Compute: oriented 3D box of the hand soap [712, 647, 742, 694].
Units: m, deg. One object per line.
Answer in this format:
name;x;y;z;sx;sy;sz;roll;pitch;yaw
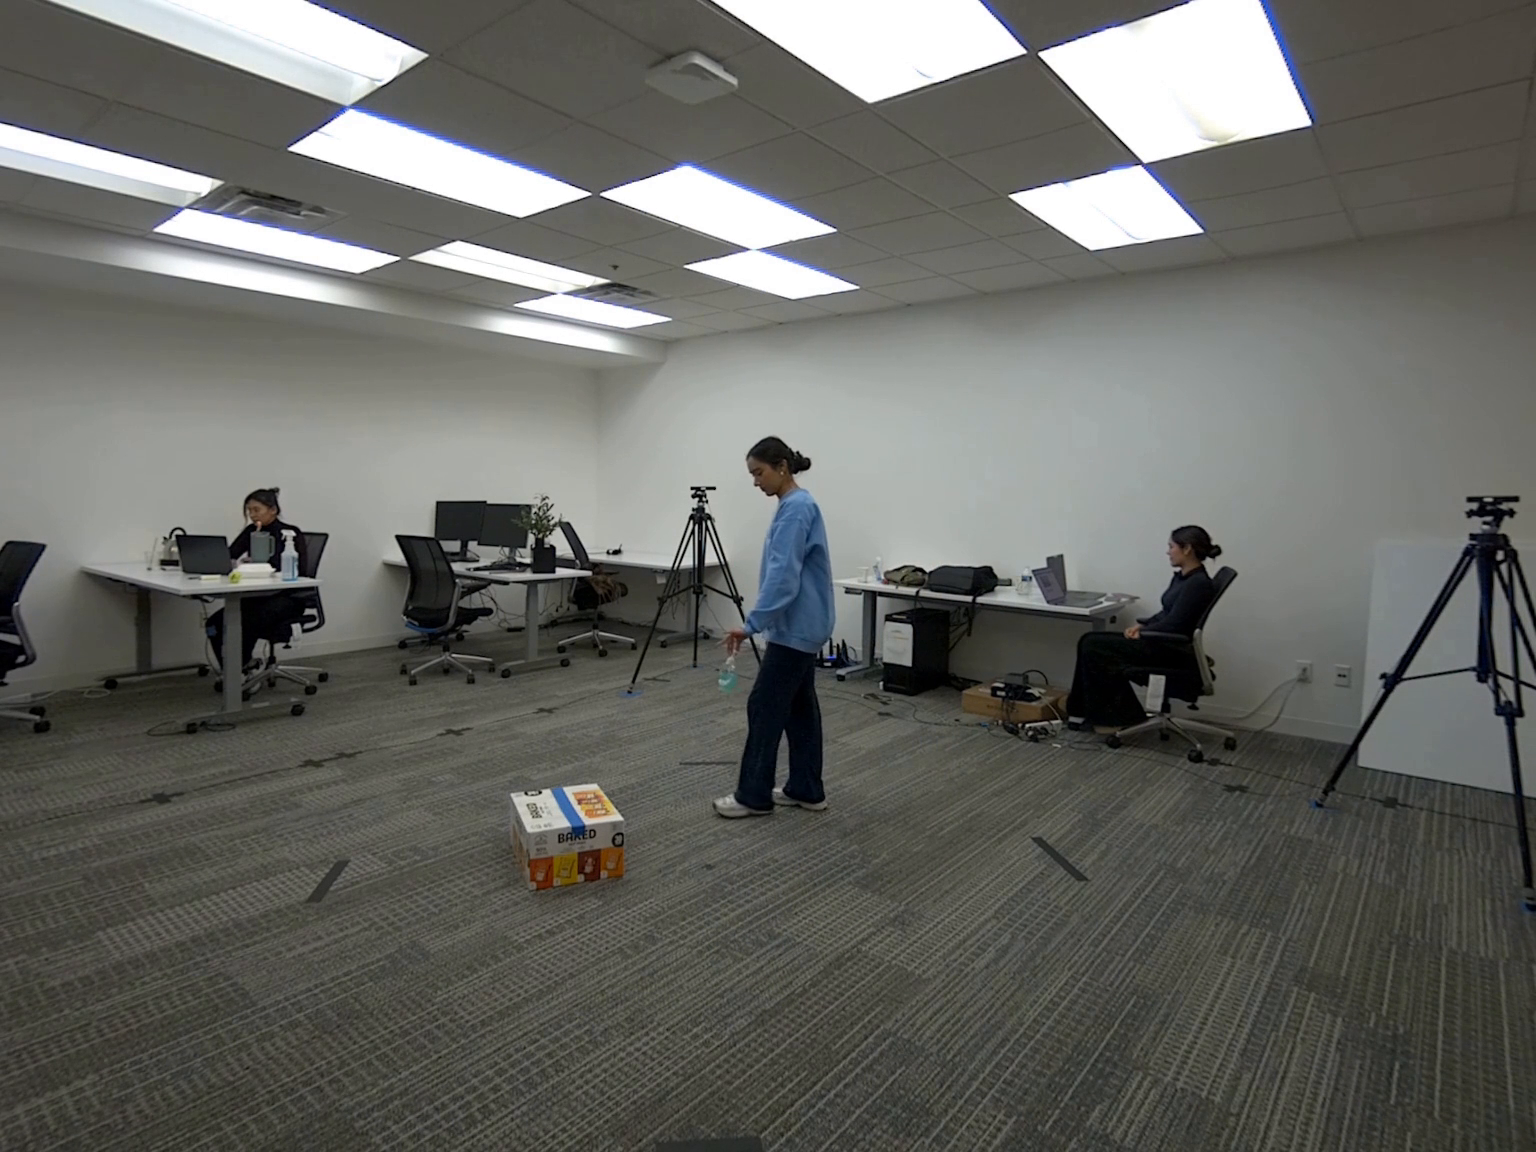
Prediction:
hand soap;-0.166;0.377;3.373;0.087;0.169;0.042;5;-5;42
